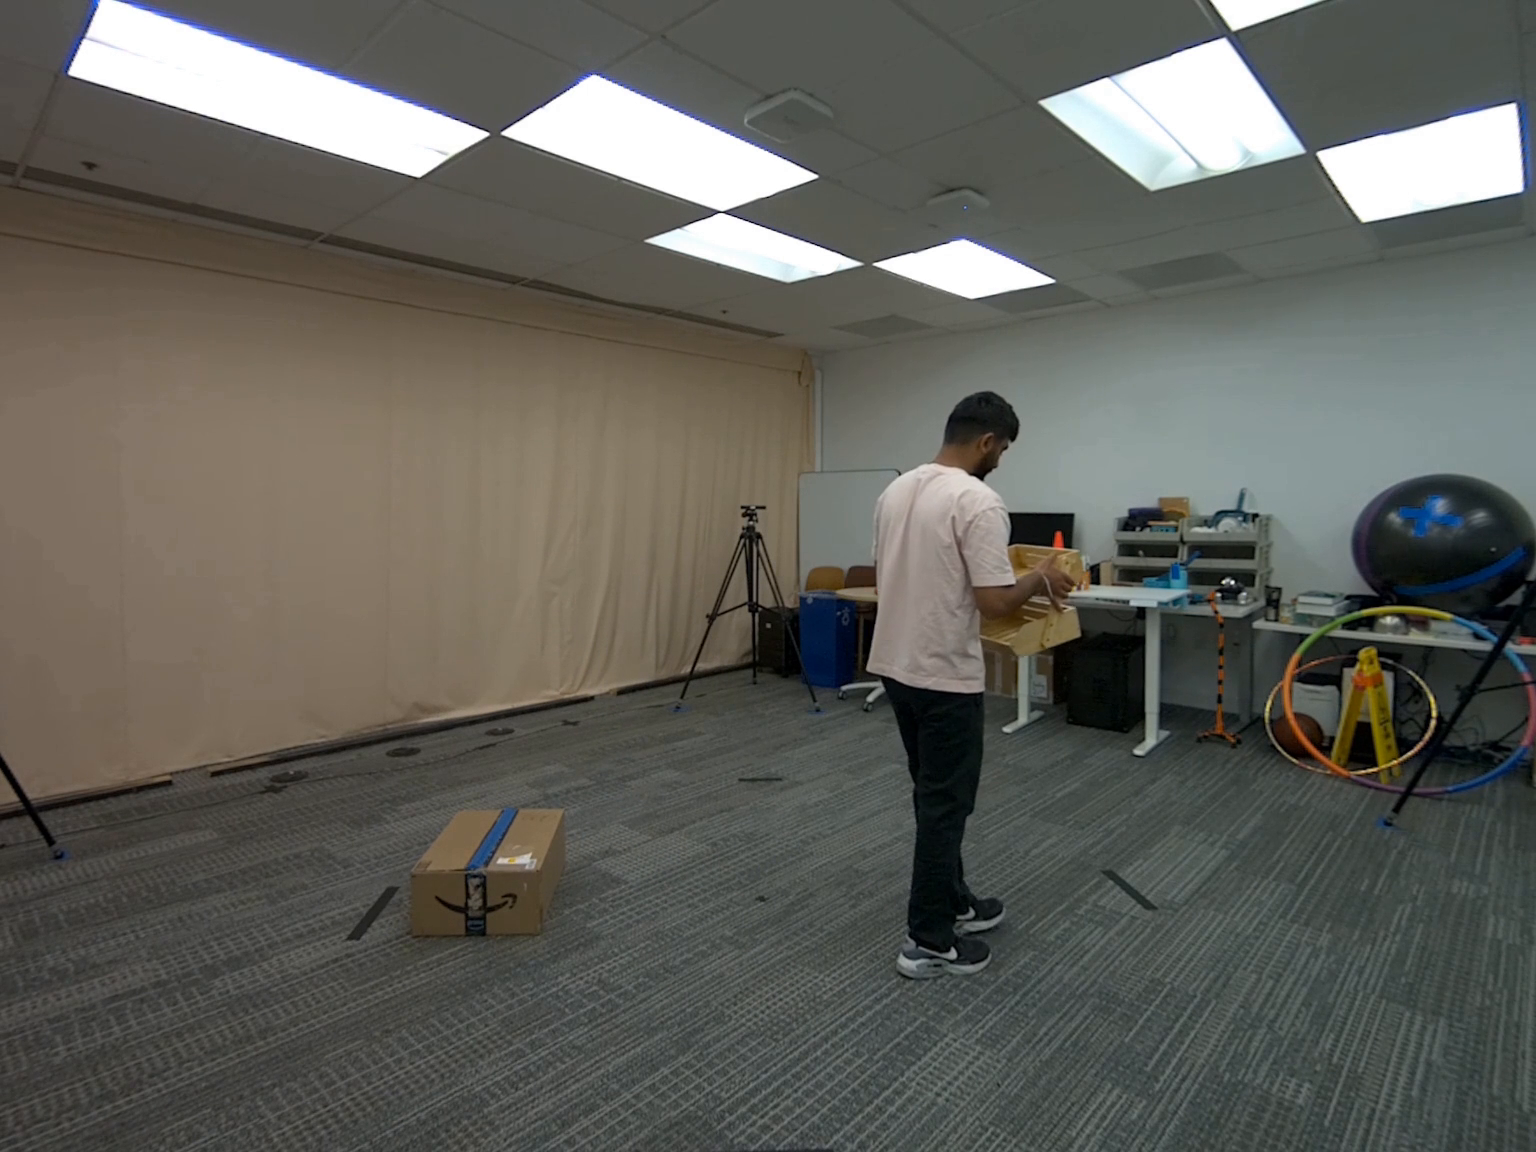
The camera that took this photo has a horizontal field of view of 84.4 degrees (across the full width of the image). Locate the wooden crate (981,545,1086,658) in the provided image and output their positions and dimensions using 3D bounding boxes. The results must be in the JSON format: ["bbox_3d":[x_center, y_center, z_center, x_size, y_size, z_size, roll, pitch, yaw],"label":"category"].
[{"bbox_3d":[0.778,0.073,2.671,0.297,0.271,0.332,-14,10,-18],"label":"wooden crate"}]
